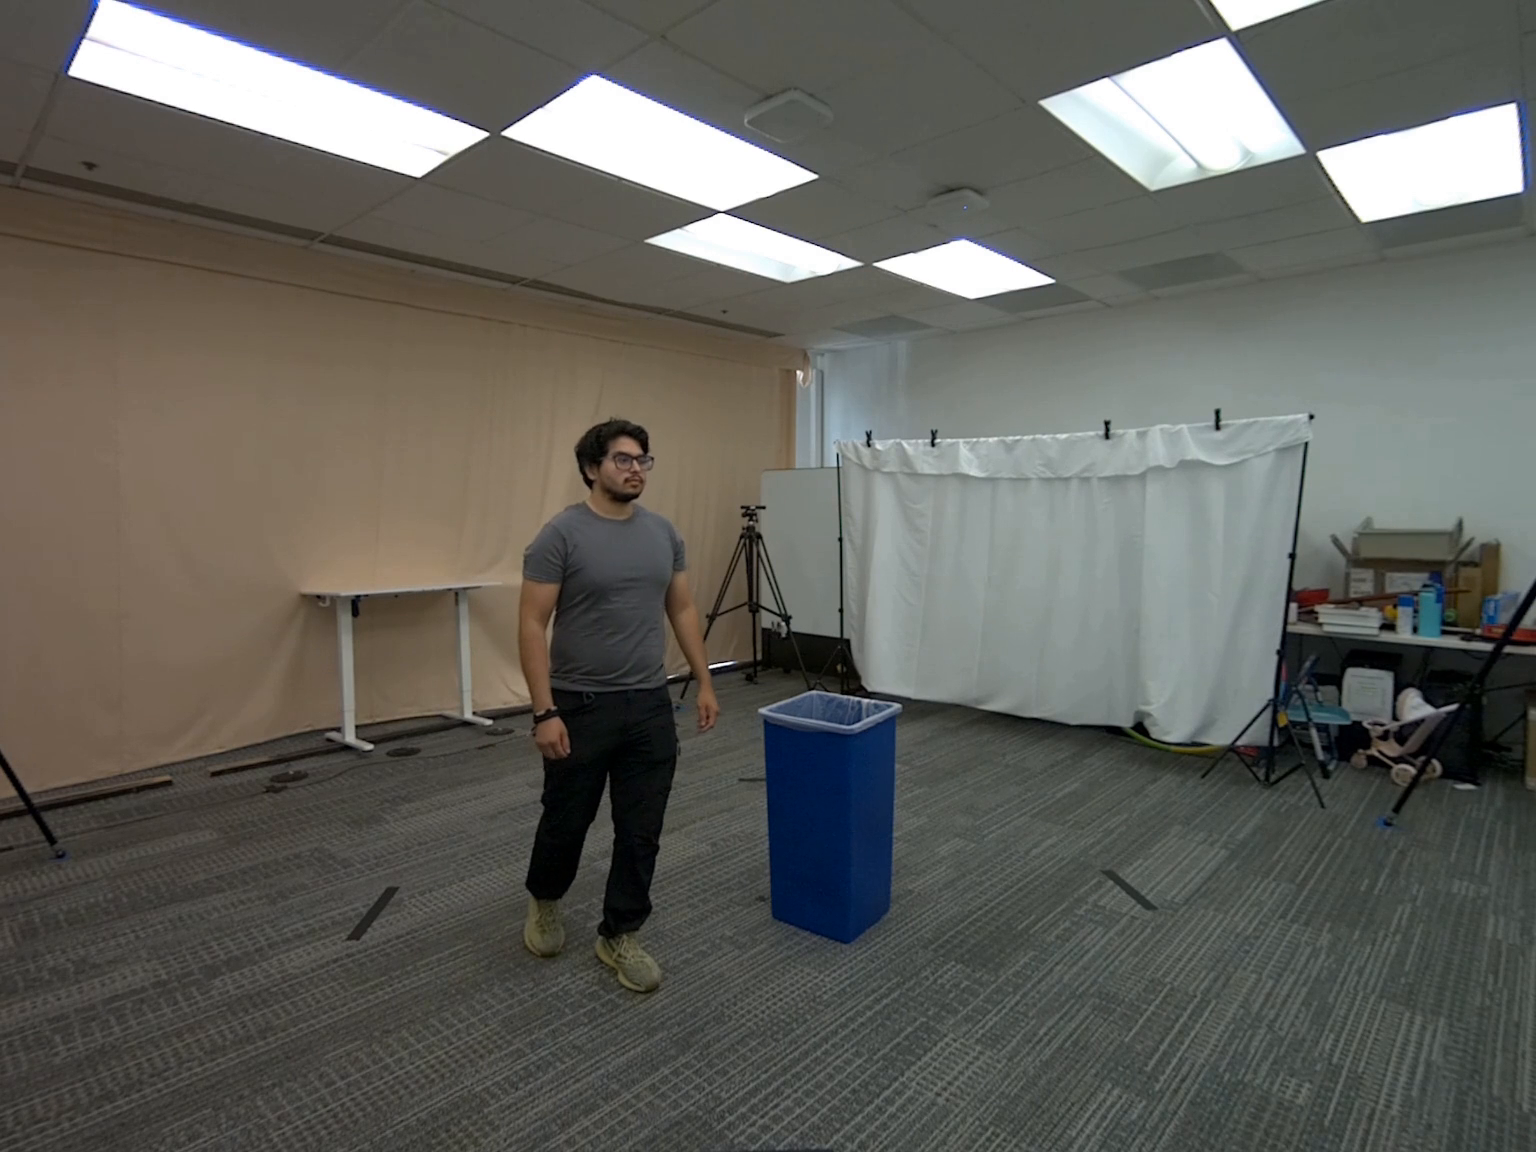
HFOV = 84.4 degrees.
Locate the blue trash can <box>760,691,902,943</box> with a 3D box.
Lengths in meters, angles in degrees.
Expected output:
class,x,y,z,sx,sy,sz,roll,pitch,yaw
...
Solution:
class,x,y,z,sx,sy,sz,roll,pitch,yaw
blue trash can,0.218,0.797,2.846,0.390,0.712,0.363,2,4,36
